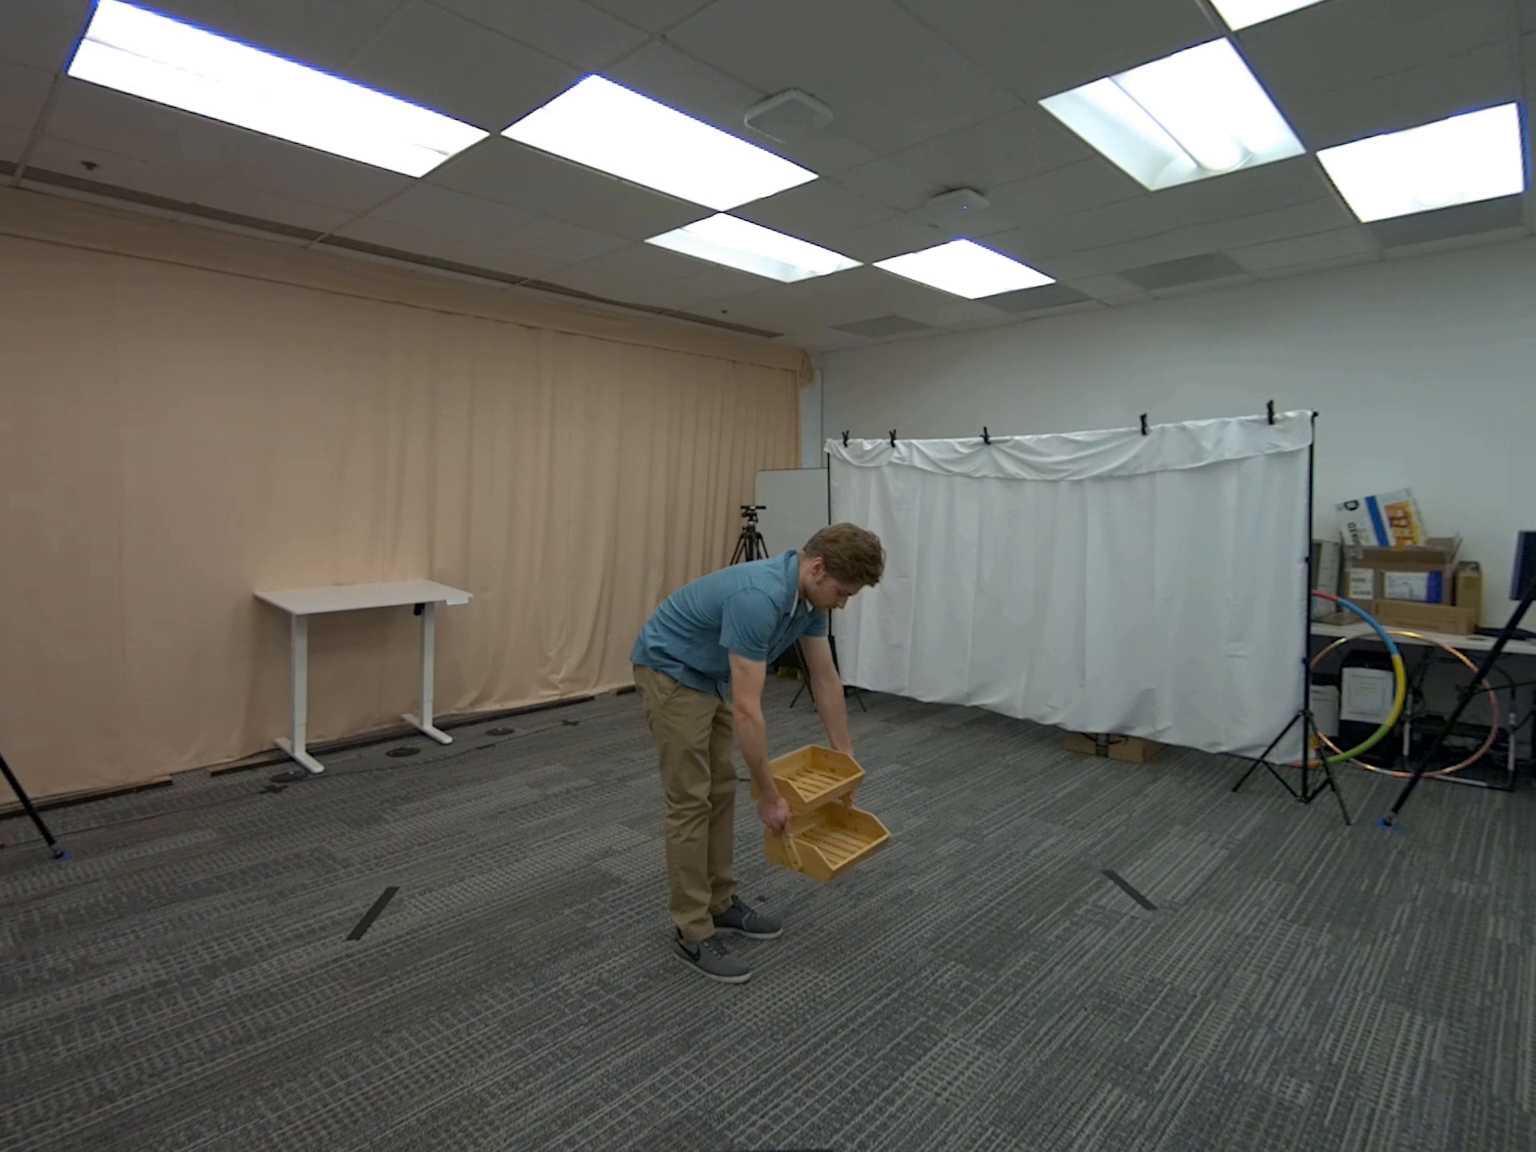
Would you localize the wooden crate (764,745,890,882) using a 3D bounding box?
[{"bbox_3d":[0.168,0.702,2.519,0.312,0.272,0.315,5,8,42],"label":"wooden crate"}]
